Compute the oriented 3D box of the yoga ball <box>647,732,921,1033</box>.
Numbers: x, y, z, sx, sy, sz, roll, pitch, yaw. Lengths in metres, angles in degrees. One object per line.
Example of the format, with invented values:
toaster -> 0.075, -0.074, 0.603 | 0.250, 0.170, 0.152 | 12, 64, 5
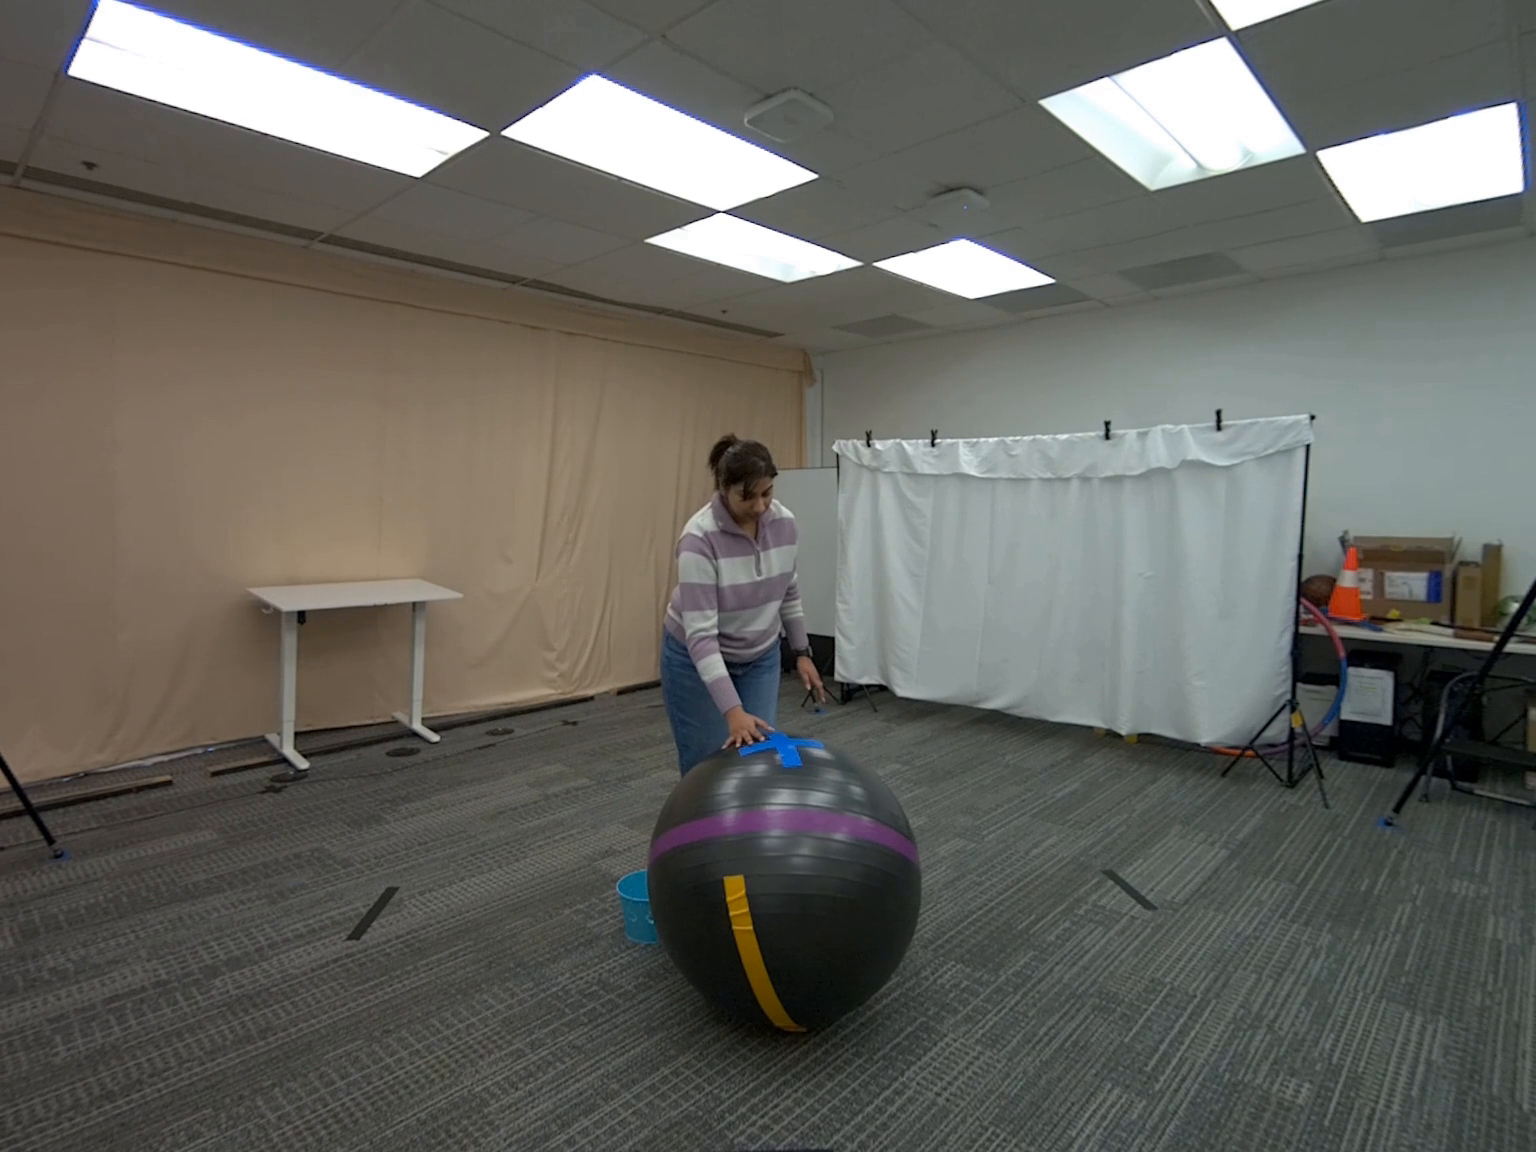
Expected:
yoga ball -> 0.047, 0.835, 2.330 | 0.757, 0.756, 0.760 | 0, 4, -2
